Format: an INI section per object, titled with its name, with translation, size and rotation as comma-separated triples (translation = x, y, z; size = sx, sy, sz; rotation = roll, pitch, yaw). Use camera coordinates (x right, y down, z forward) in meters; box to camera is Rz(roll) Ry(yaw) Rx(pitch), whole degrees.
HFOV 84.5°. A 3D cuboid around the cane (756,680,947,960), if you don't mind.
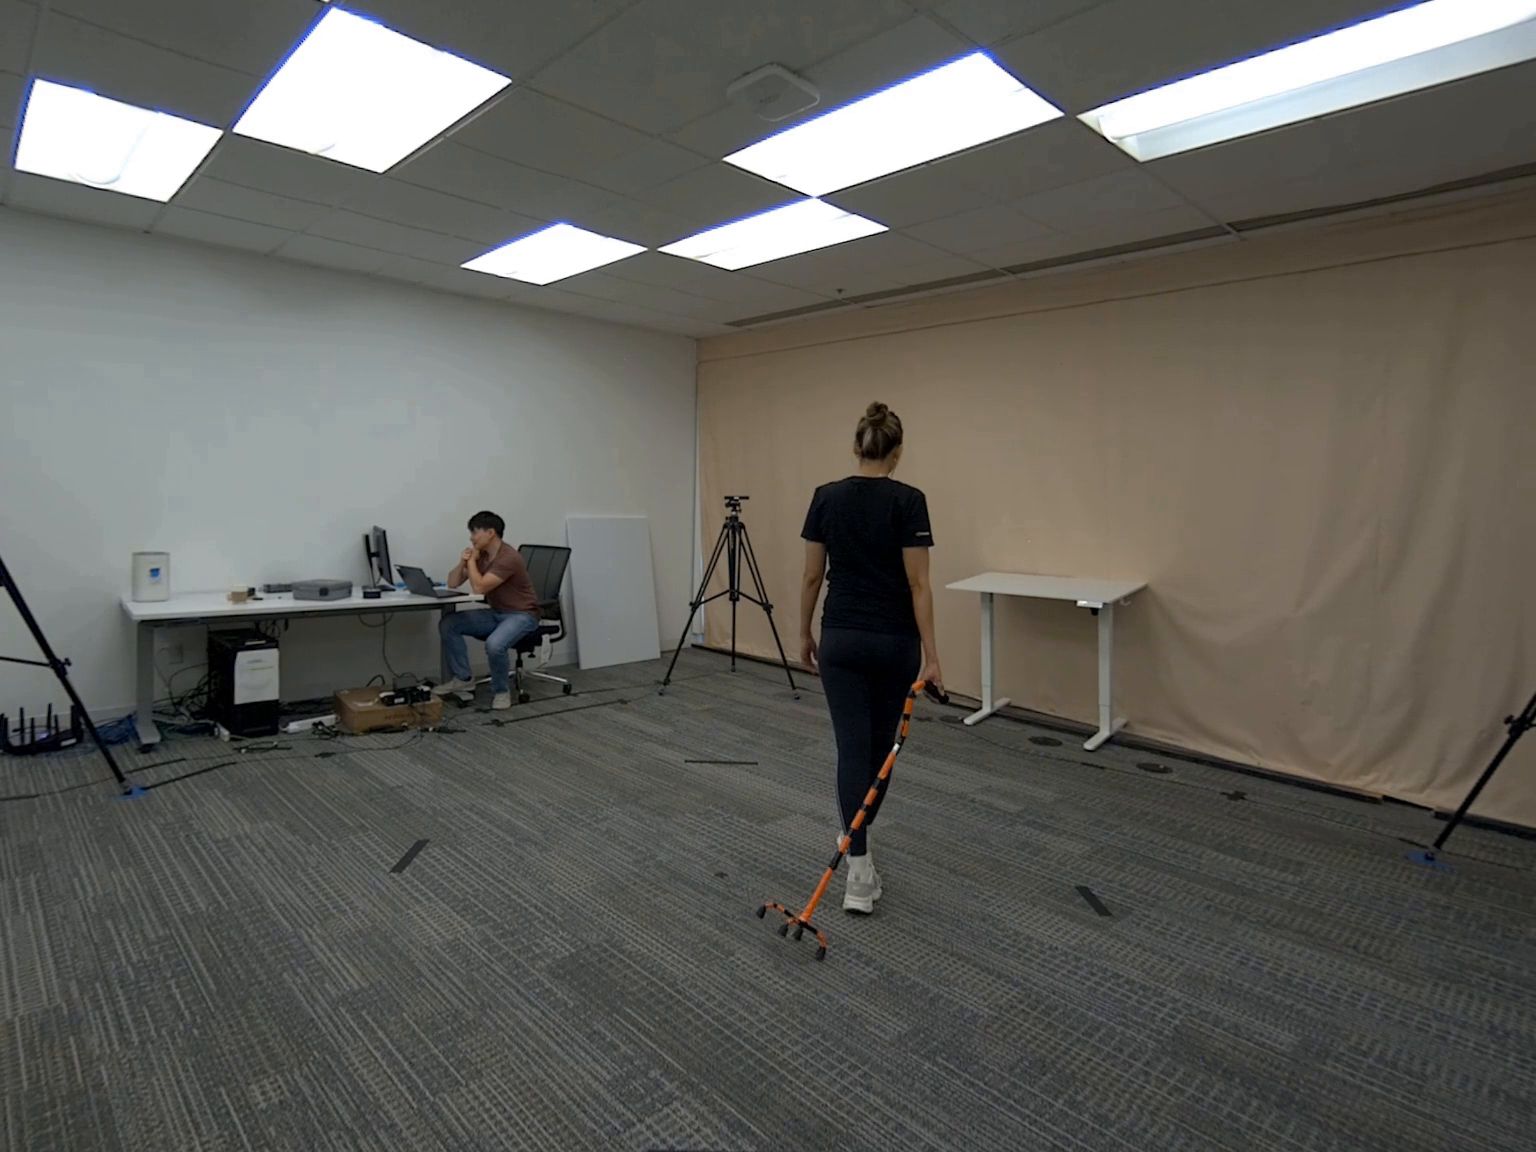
[cane]
translation = 0.293, 0.727, 2.664
size = 0.201, 0.910, 0.155
rotation = 39, -15, -28
